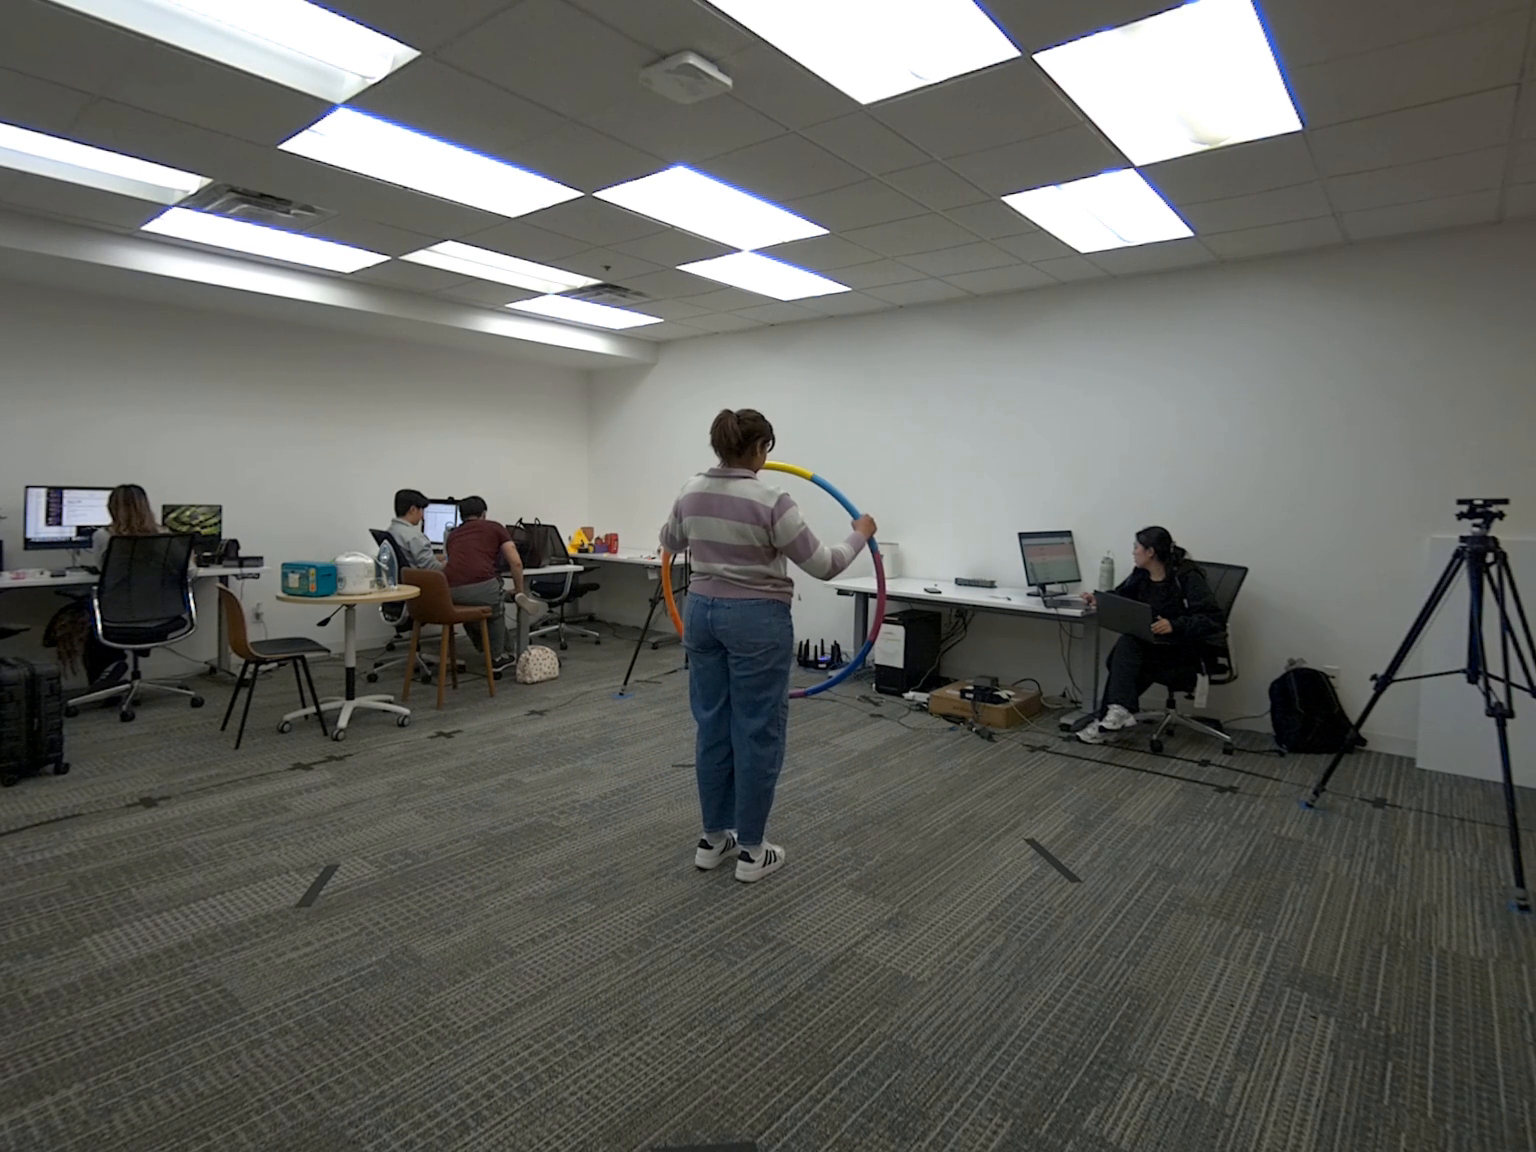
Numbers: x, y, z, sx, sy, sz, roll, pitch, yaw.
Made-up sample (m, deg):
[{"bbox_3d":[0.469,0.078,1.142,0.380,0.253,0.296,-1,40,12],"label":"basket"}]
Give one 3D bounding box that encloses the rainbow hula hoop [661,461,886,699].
[{"bbox_3d":[-0.019,0.024,3.442,1.004,0.968,0.035,3,12,25],"label":"rainbow hula hoop"}]
